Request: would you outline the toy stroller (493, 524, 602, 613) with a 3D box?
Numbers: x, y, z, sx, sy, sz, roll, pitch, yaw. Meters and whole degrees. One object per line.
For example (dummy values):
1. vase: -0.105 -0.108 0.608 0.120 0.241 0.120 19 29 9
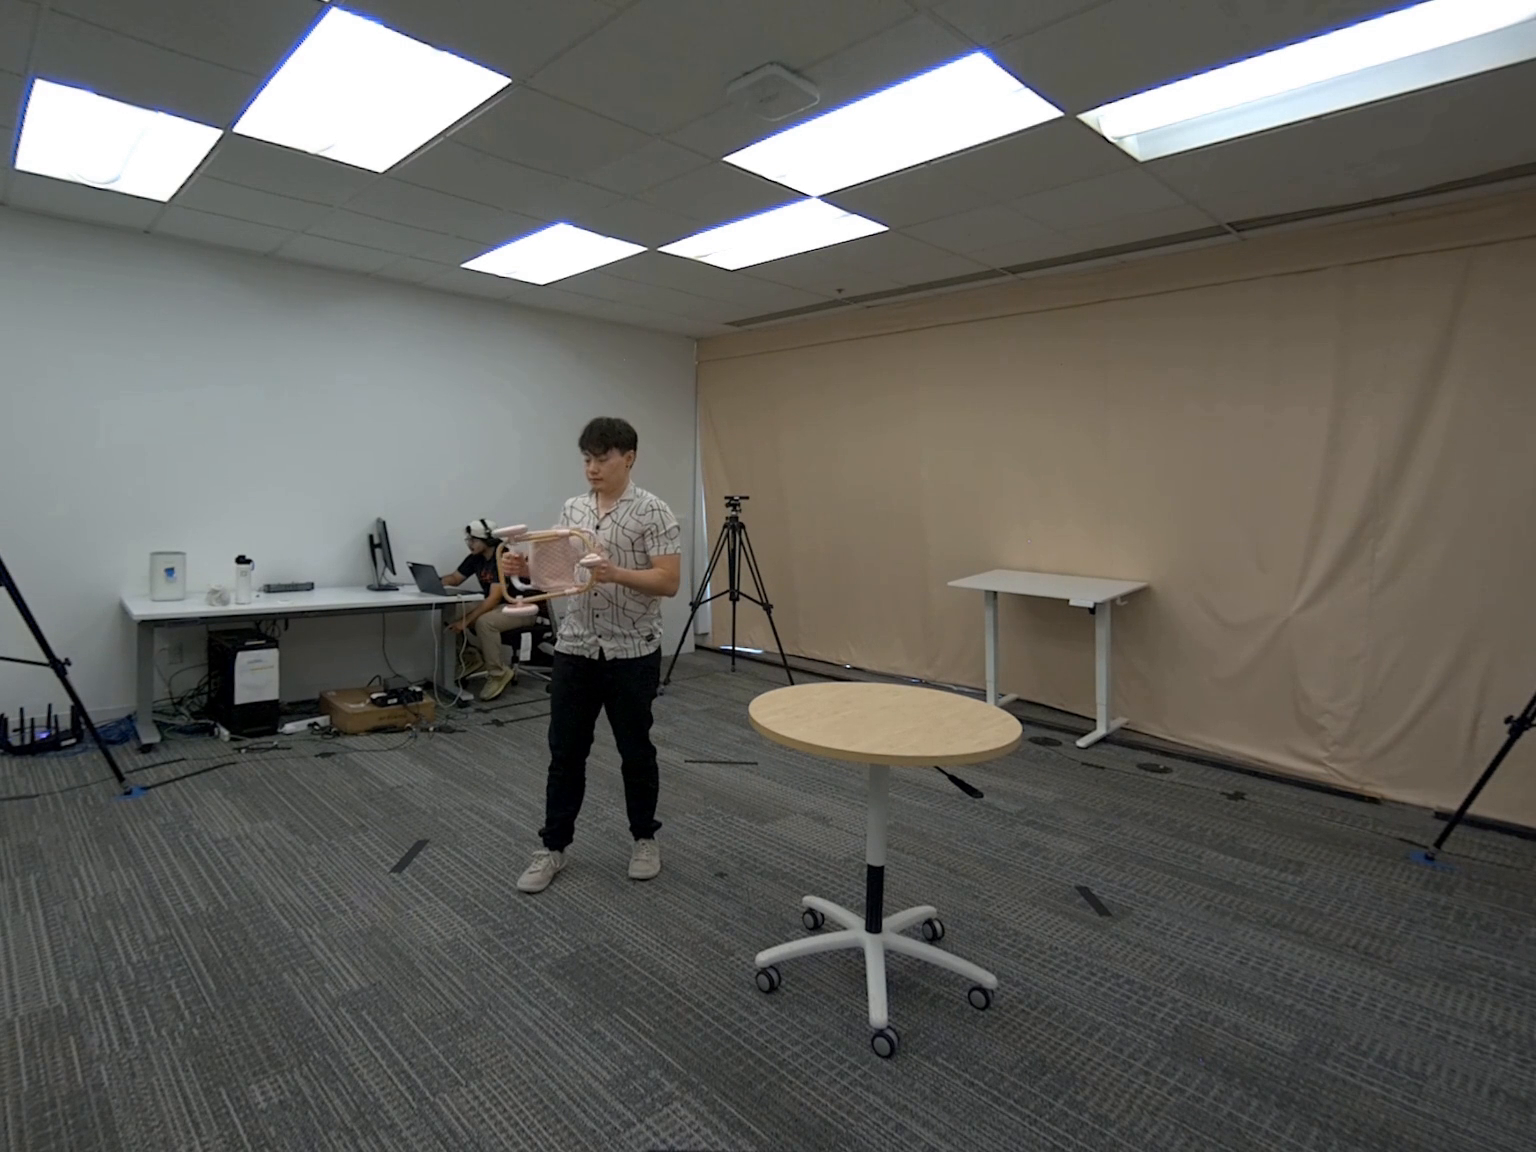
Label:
1. toy stroller: -0.711 -0.048 2.772 0.339 0.280 0.540 -12 6 -9
